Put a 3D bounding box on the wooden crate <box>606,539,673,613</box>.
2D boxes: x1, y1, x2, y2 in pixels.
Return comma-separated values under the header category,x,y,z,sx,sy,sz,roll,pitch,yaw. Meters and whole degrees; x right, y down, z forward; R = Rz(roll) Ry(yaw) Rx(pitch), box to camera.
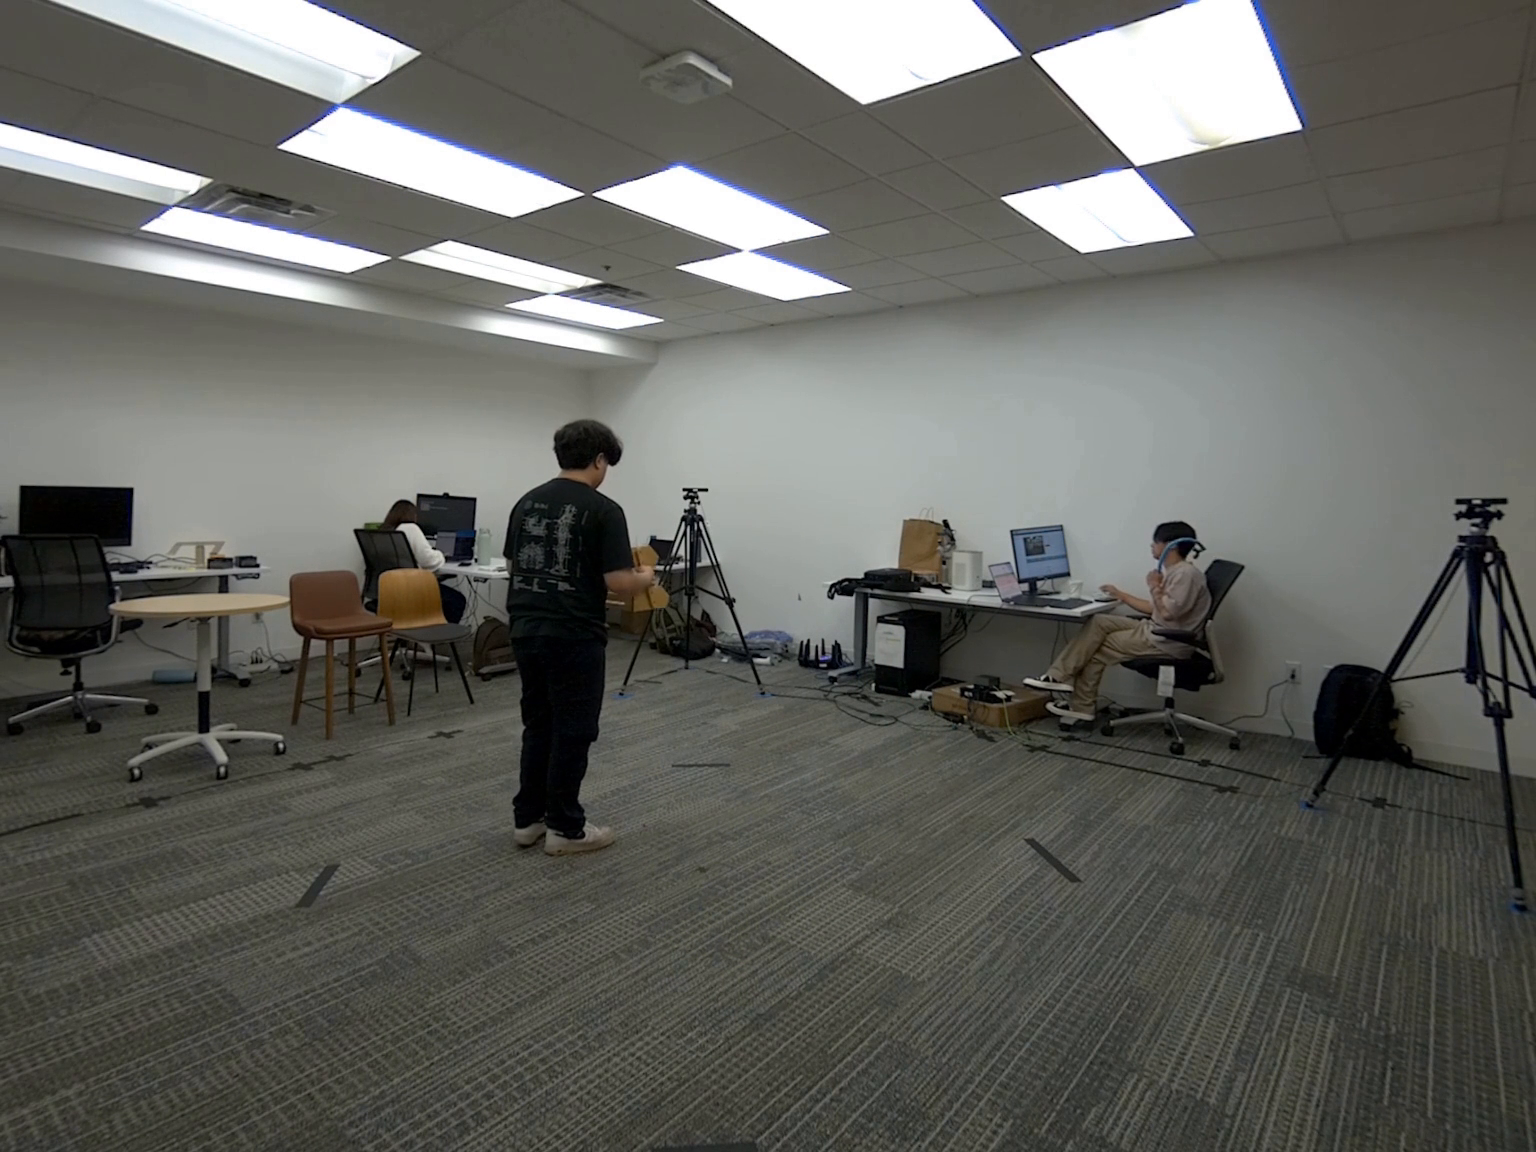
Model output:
category,x,y,z,sx,sy,sz,roll,pitch,yaw
wooden crate,-0.626,-0.015,3.545,0.334,0.273,0.294,4,4,30
